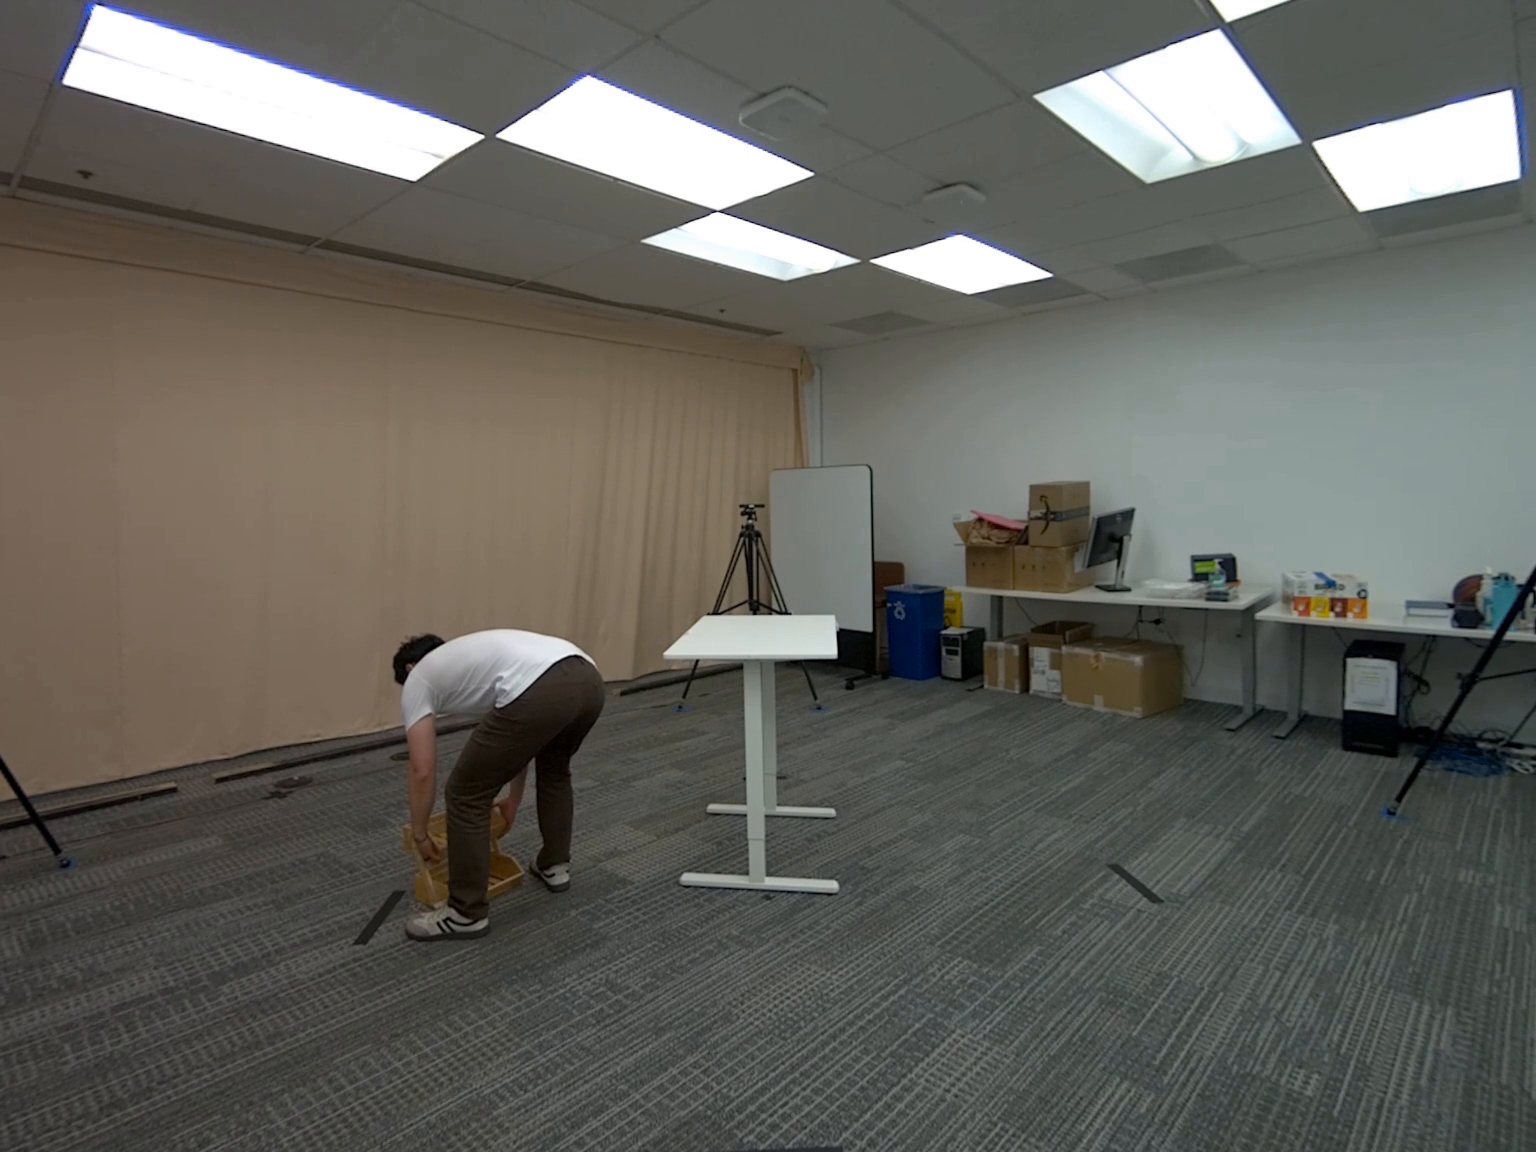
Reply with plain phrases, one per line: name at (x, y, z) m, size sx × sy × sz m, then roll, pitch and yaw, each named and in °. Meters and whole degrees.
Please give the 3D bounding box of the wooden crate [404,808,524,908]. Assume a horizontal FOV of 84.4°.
wooden crate at (-1.117, 1.026, 3.086) m, size 0.311 × 0.273 × 0.315 m, roll 1°, pitch 5°, yaw 34°
